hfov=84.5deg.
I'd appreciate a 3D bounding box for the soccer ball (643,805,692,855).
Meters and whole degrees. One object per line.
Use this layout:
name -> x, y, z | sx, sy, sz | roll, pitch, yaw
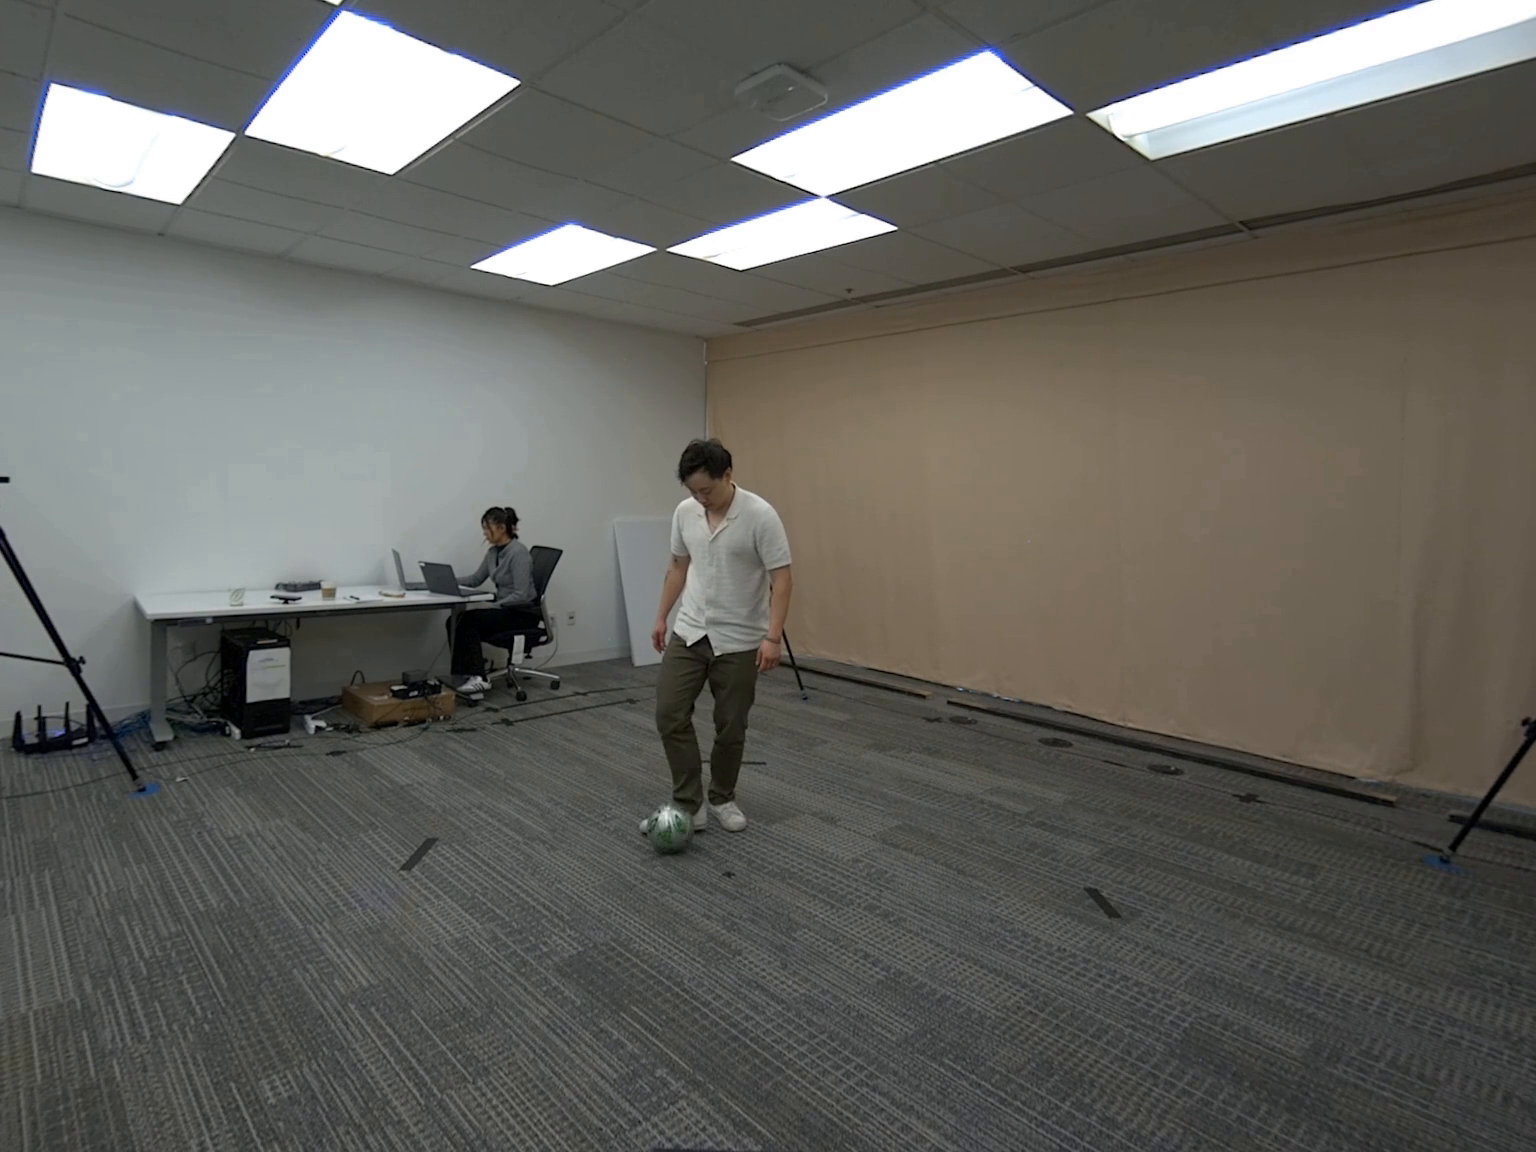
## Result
soccer ball -> -0.394, 0.984, 3.283 | 0.187, 0.187, 0.188 | 1, 4, -1
